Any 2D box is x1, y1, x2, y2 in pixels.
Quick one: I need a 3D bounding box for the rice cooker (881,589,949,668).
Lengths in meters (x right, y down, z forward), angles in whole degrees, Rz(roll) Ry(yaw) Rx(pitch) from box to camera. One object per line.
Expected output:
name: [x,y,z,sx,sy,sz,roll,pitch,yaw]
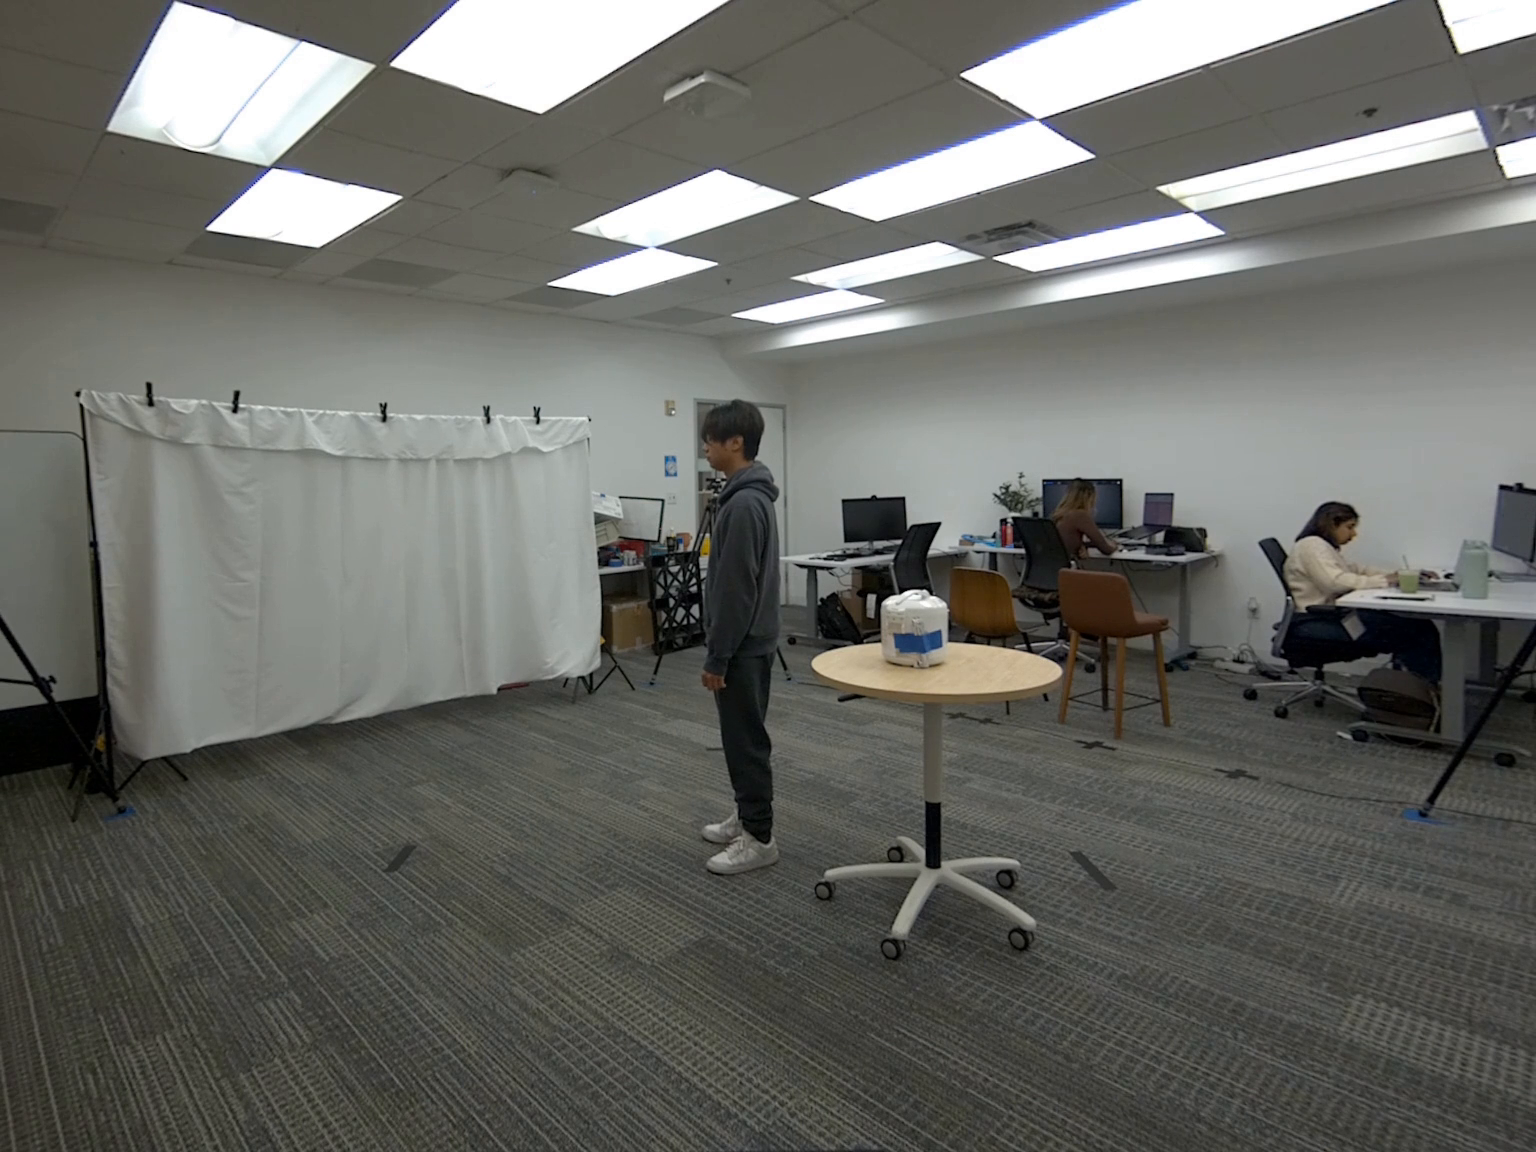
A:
rice cooker: [0.466,0.160,2.741,0.215,0.232,0.224,-6,7,-45]
